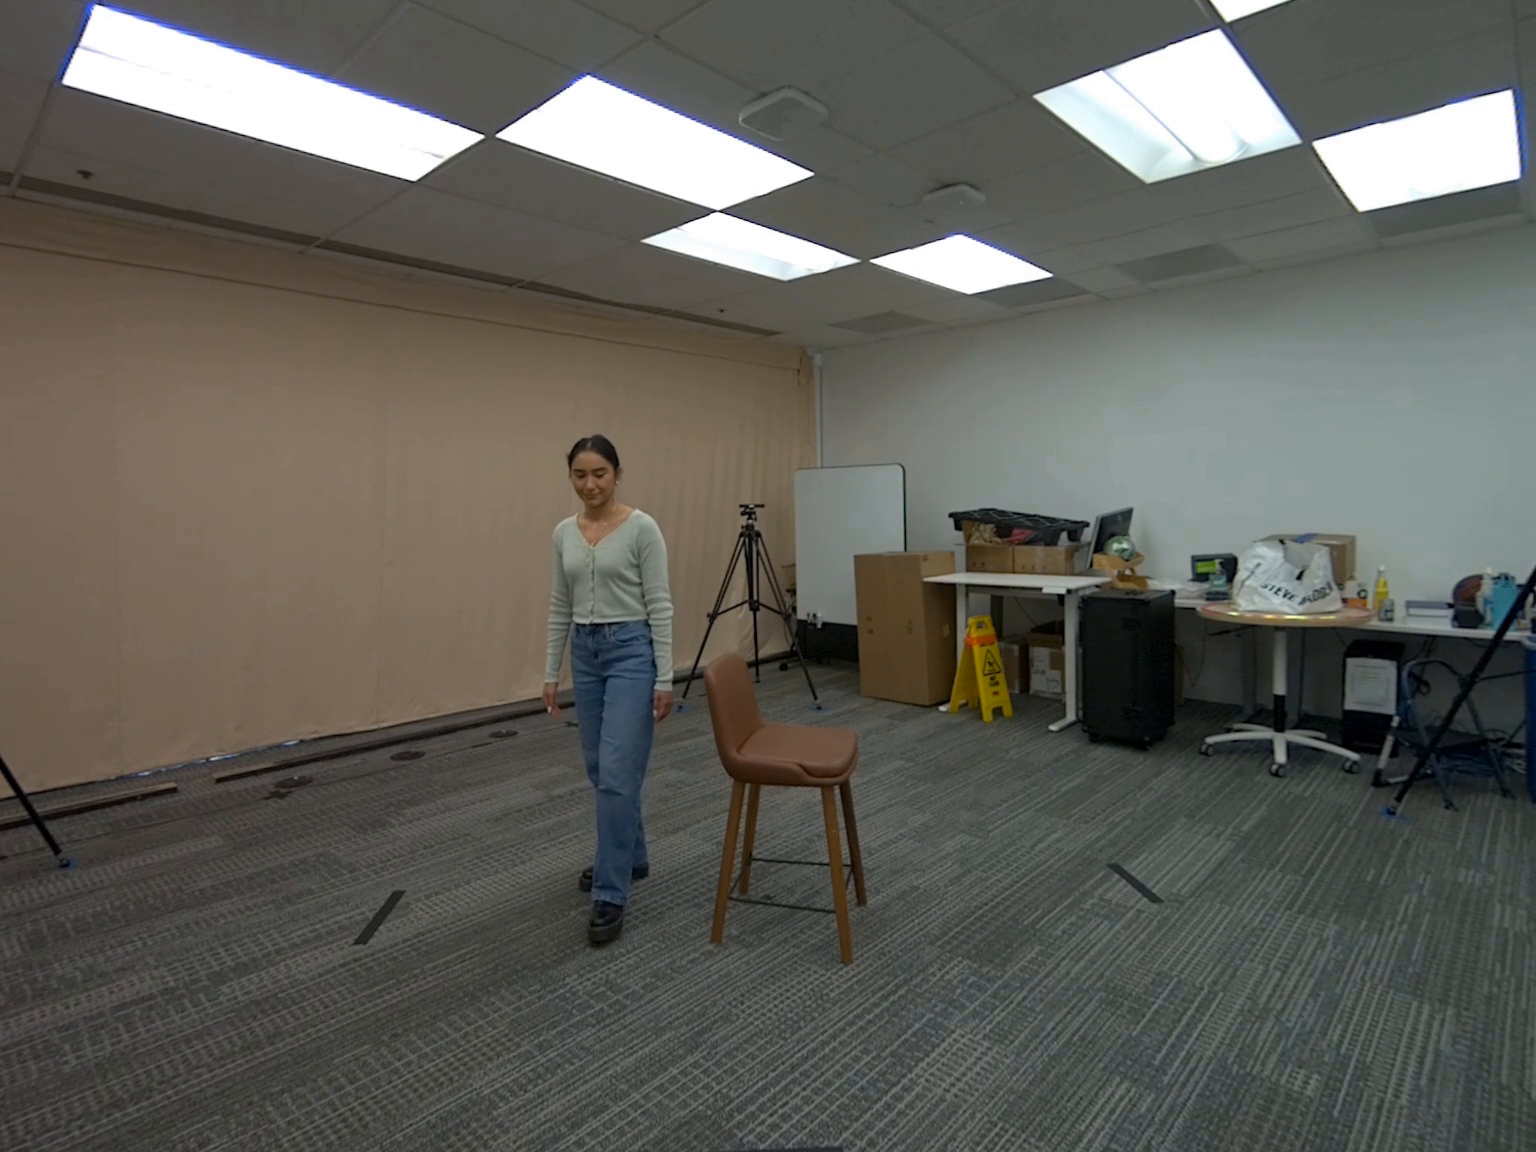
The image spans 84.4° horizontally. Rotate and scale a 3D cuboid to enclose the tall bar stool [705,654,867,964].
[{"bbox_3d":[0.063,0.717,2.772,0.476,0.888,0.449,-2,3,16],"label":"tall bar stool"}]
